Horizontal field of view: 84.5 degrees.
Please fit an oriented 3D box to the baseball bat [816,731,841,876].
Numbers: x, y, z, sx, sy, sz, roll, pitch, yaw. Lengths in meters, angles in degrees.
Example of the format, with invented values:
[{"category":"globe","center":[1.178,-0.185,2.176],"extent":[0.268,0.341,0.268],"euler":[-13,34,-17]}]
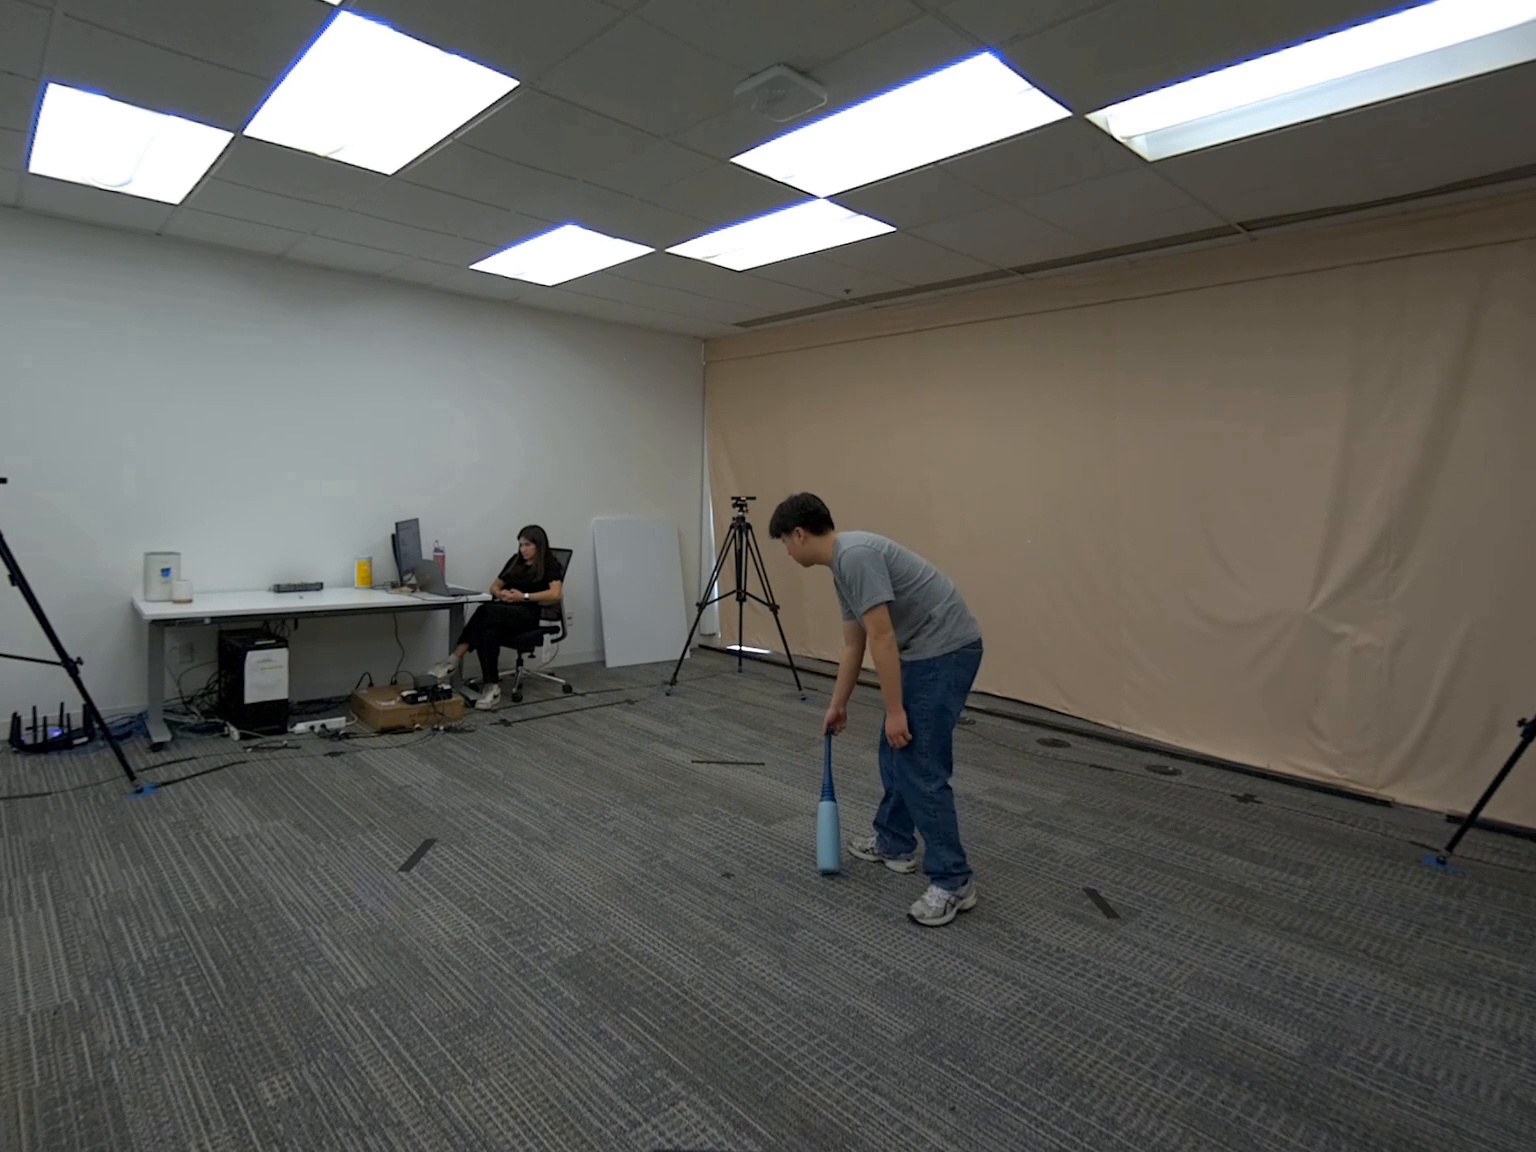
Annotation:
[{"category":"baseball bat","center":[0.230,0.855,3.241],"extent":[0.089,0.552,0.087],"euler":[2,-27,0]}]
